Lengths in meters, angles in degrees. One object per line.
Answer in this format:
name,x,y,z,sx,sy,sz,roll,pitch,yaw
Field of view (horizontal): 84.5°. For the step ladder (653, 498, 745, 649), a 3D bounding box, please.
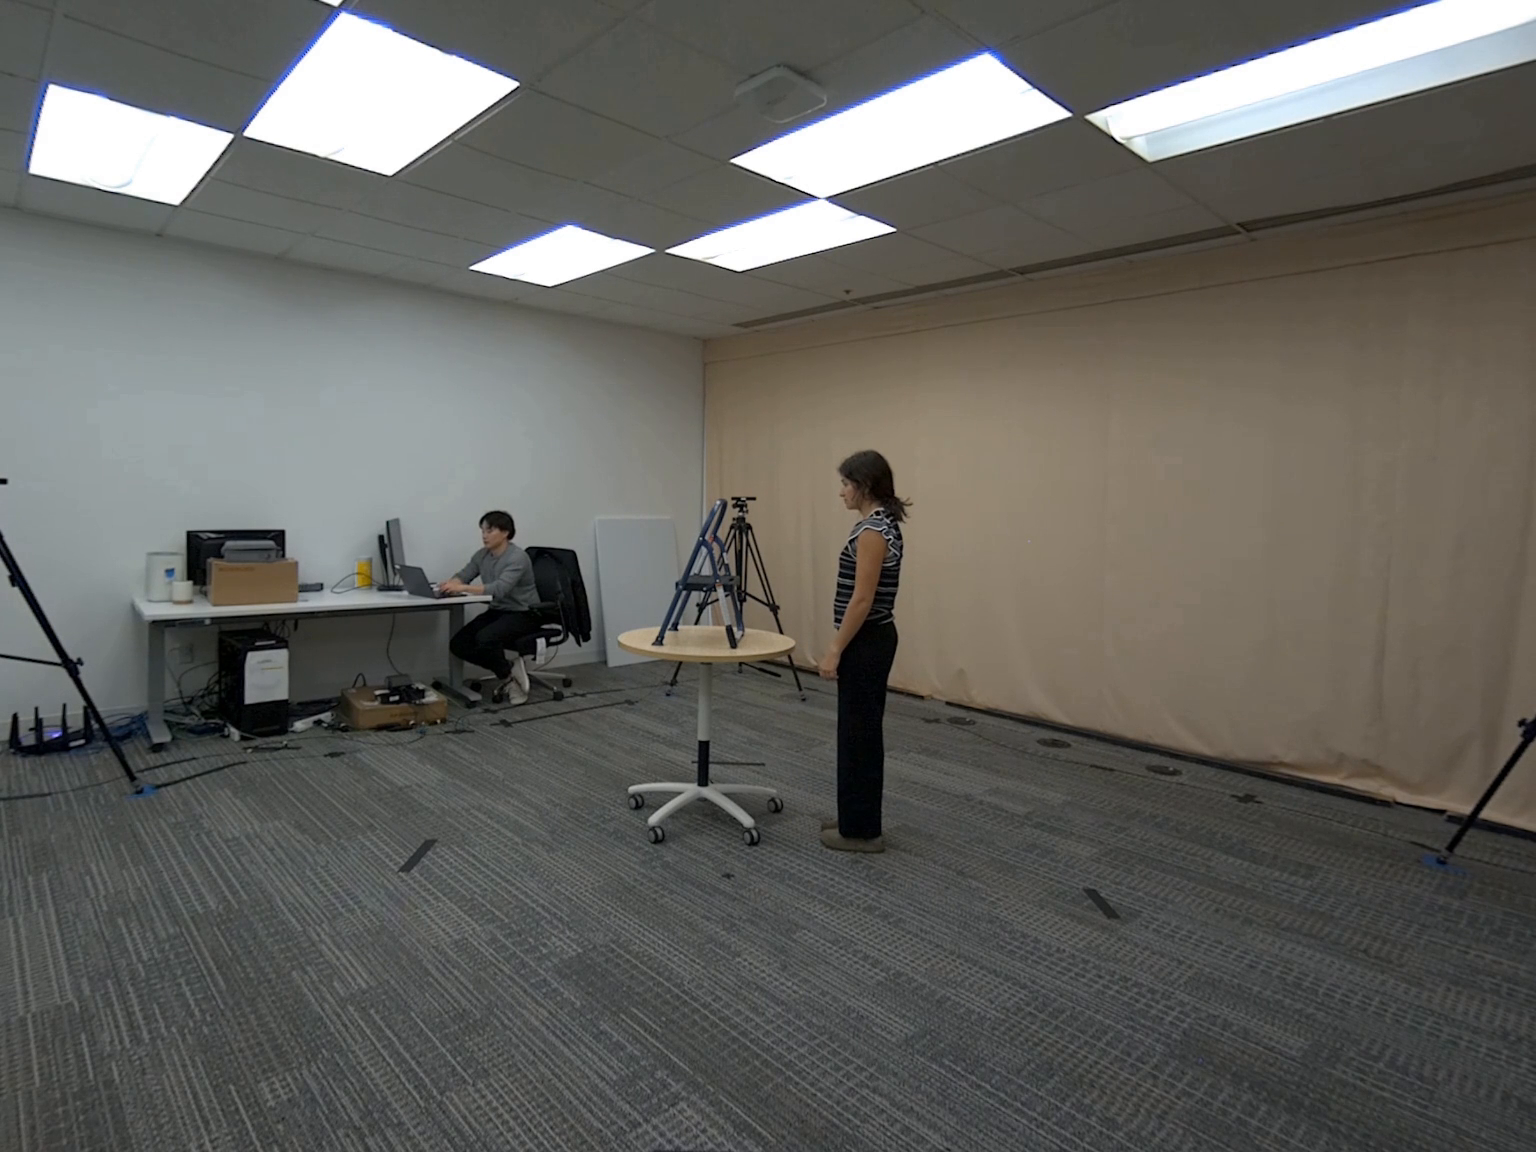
step ladder,-0.287,-0.021,3.621,0.350,0.603,0.431,3,8,4
